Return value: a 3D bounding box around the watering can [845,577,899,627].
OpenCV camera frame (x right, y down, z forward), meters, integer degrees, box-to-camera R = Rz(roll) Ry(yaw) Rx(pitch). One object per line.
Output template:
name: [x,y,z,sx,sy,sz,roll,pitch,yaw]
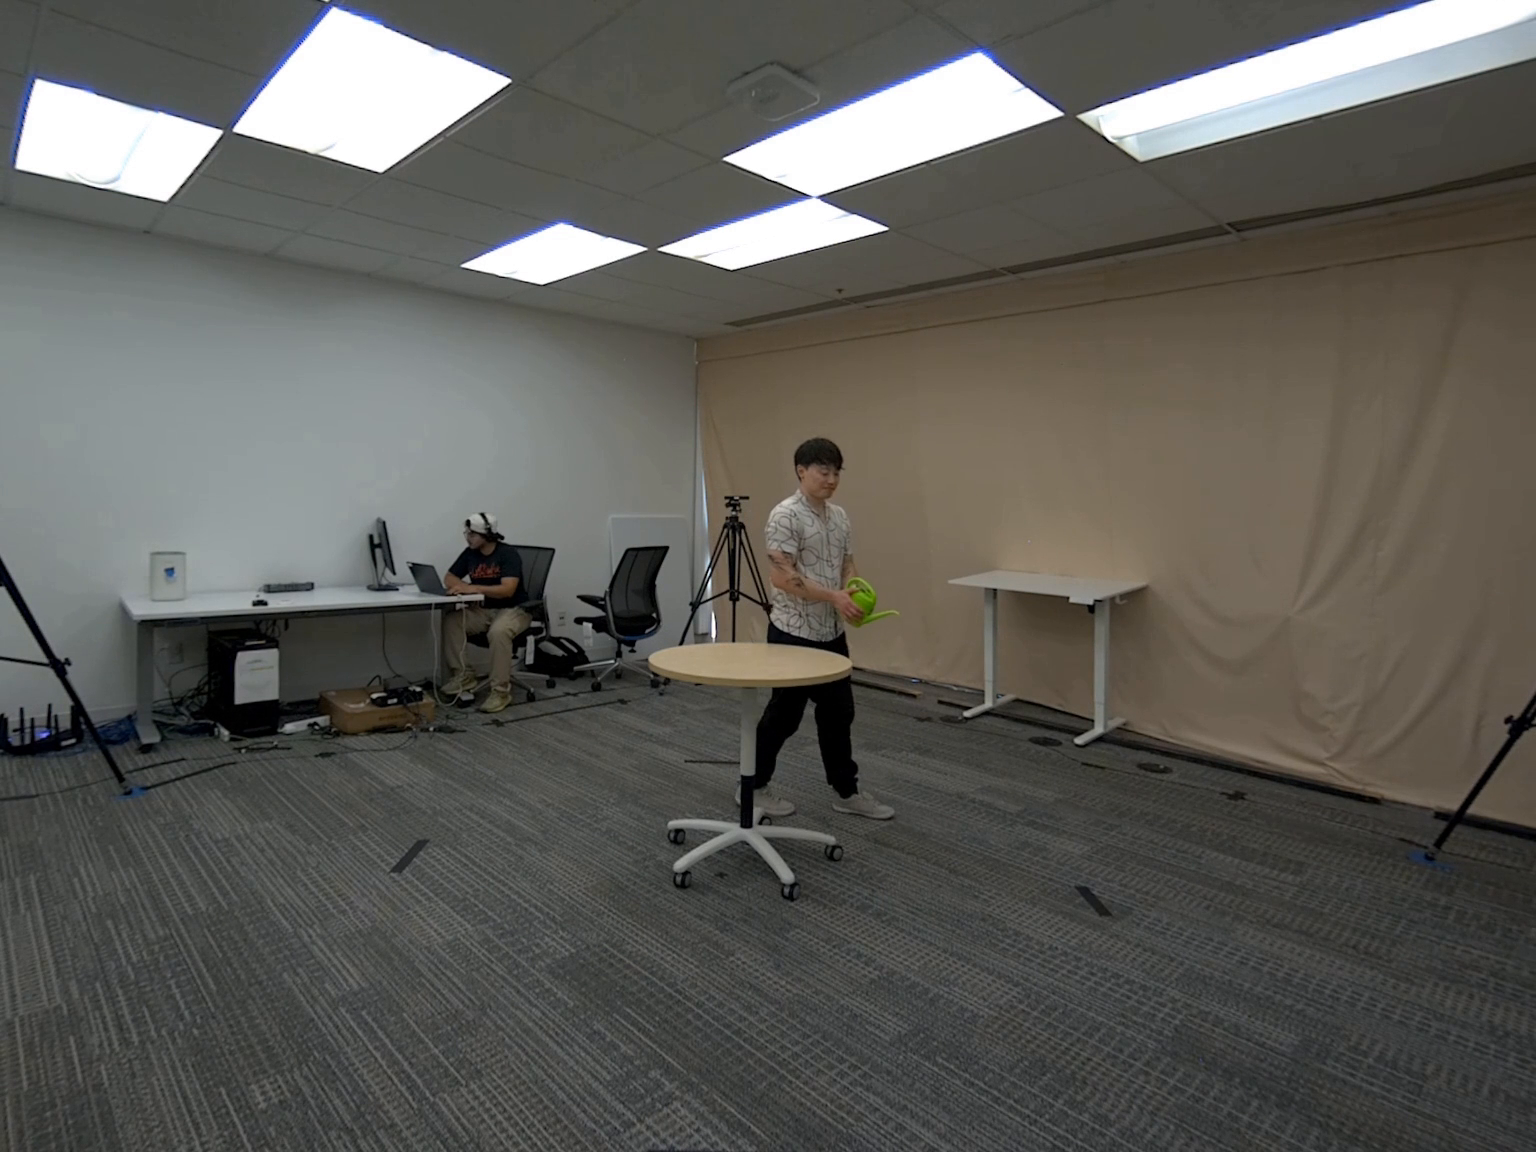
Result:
watering can: [0.393,0.129,3.503,0.095,0.176,0.287,15,28,-38]
